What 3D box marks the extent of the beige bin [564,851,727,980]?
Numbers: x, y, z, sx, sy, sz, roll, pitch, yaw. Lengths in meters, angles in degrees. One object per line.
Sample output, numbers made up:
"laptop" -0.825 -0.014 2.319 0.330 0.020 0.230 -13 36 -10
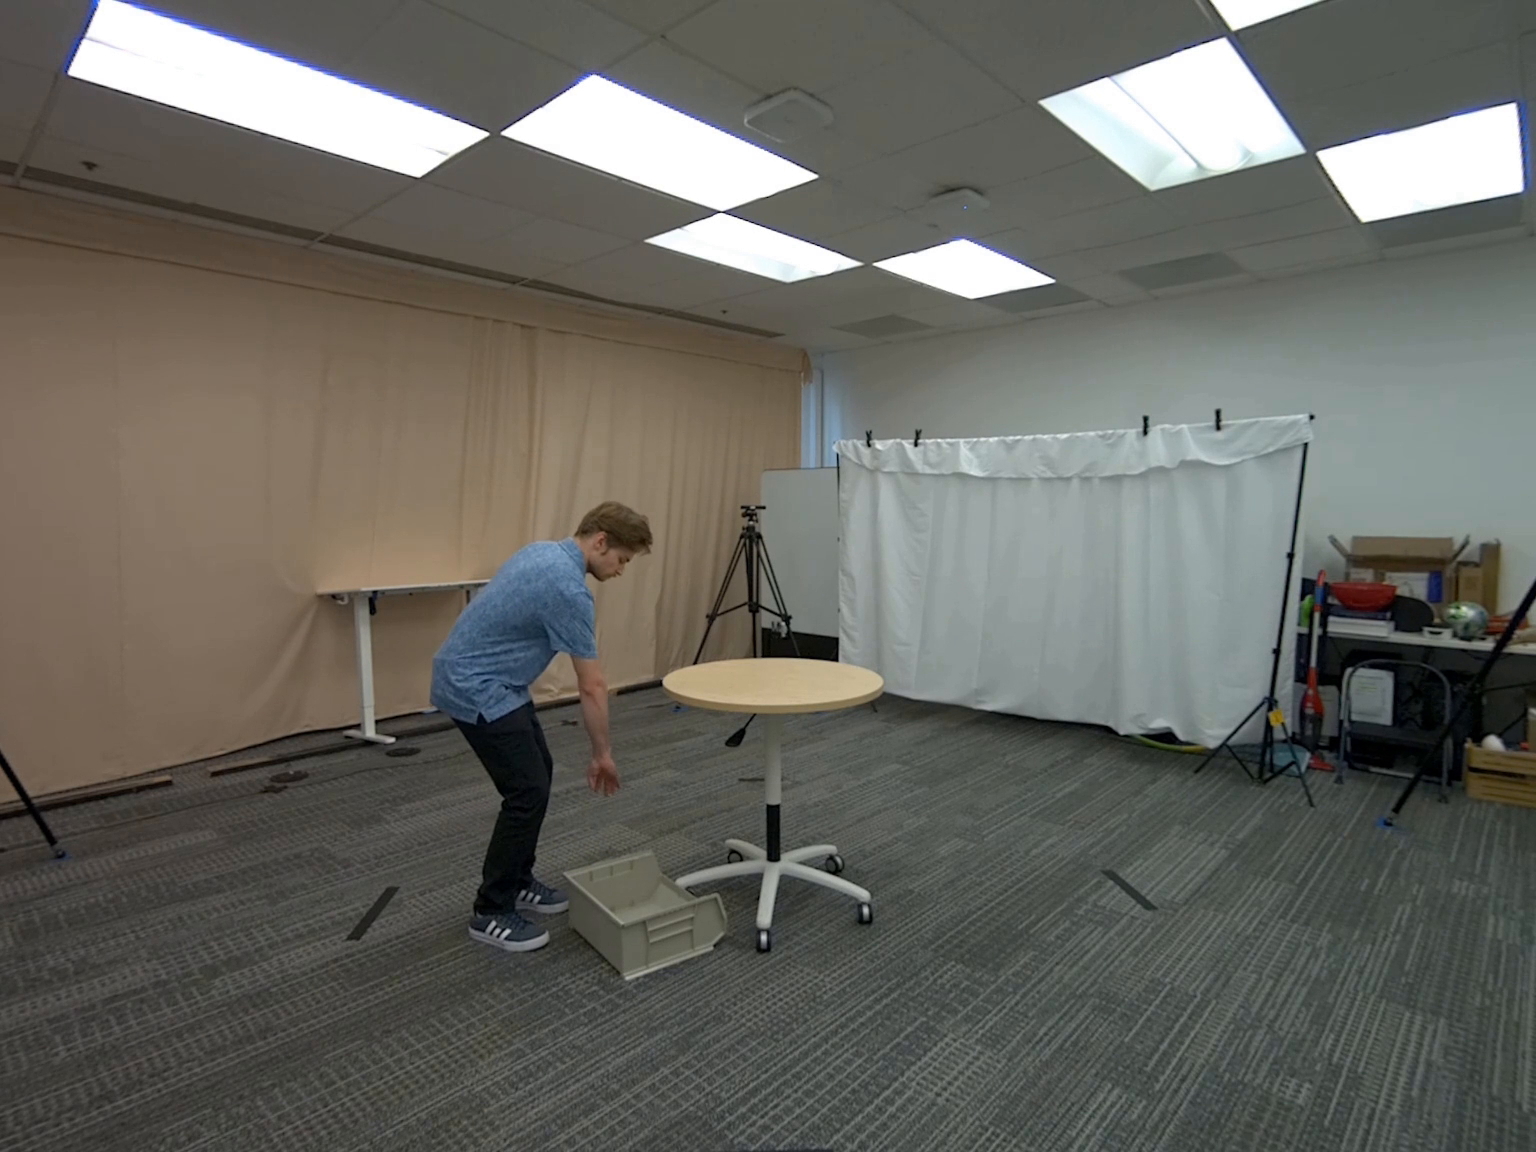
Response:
"beige bin" -0.406 1.081 2.724 0.366 0.188 0.436 -5 7 -37
